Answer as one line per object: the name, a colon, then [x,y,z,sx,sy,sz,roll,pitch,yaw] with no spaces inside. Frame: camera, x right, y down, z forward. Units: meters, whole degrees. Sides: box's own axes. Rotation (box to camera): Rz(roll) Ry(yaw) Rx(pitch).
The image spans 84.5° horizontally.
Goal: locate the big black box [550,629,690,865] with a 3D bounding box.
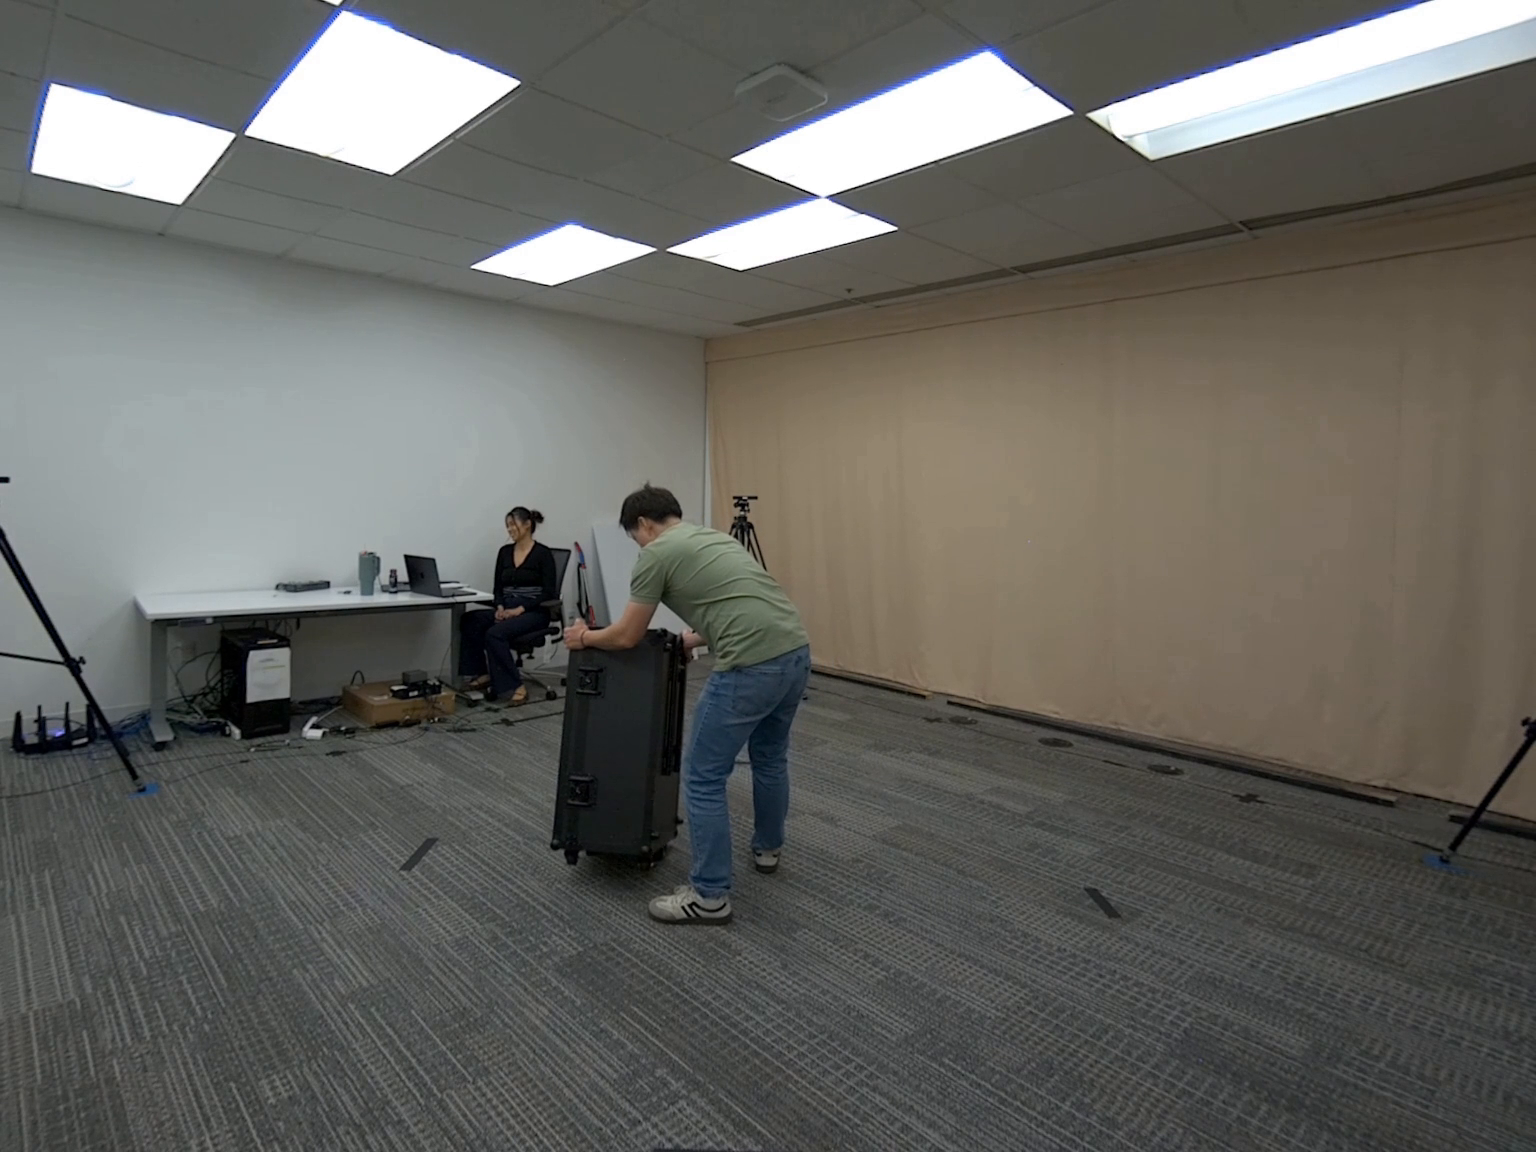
big black box: [-0.540,0.591,3.218,0.399,0.868,0.513,1,-10,9]
